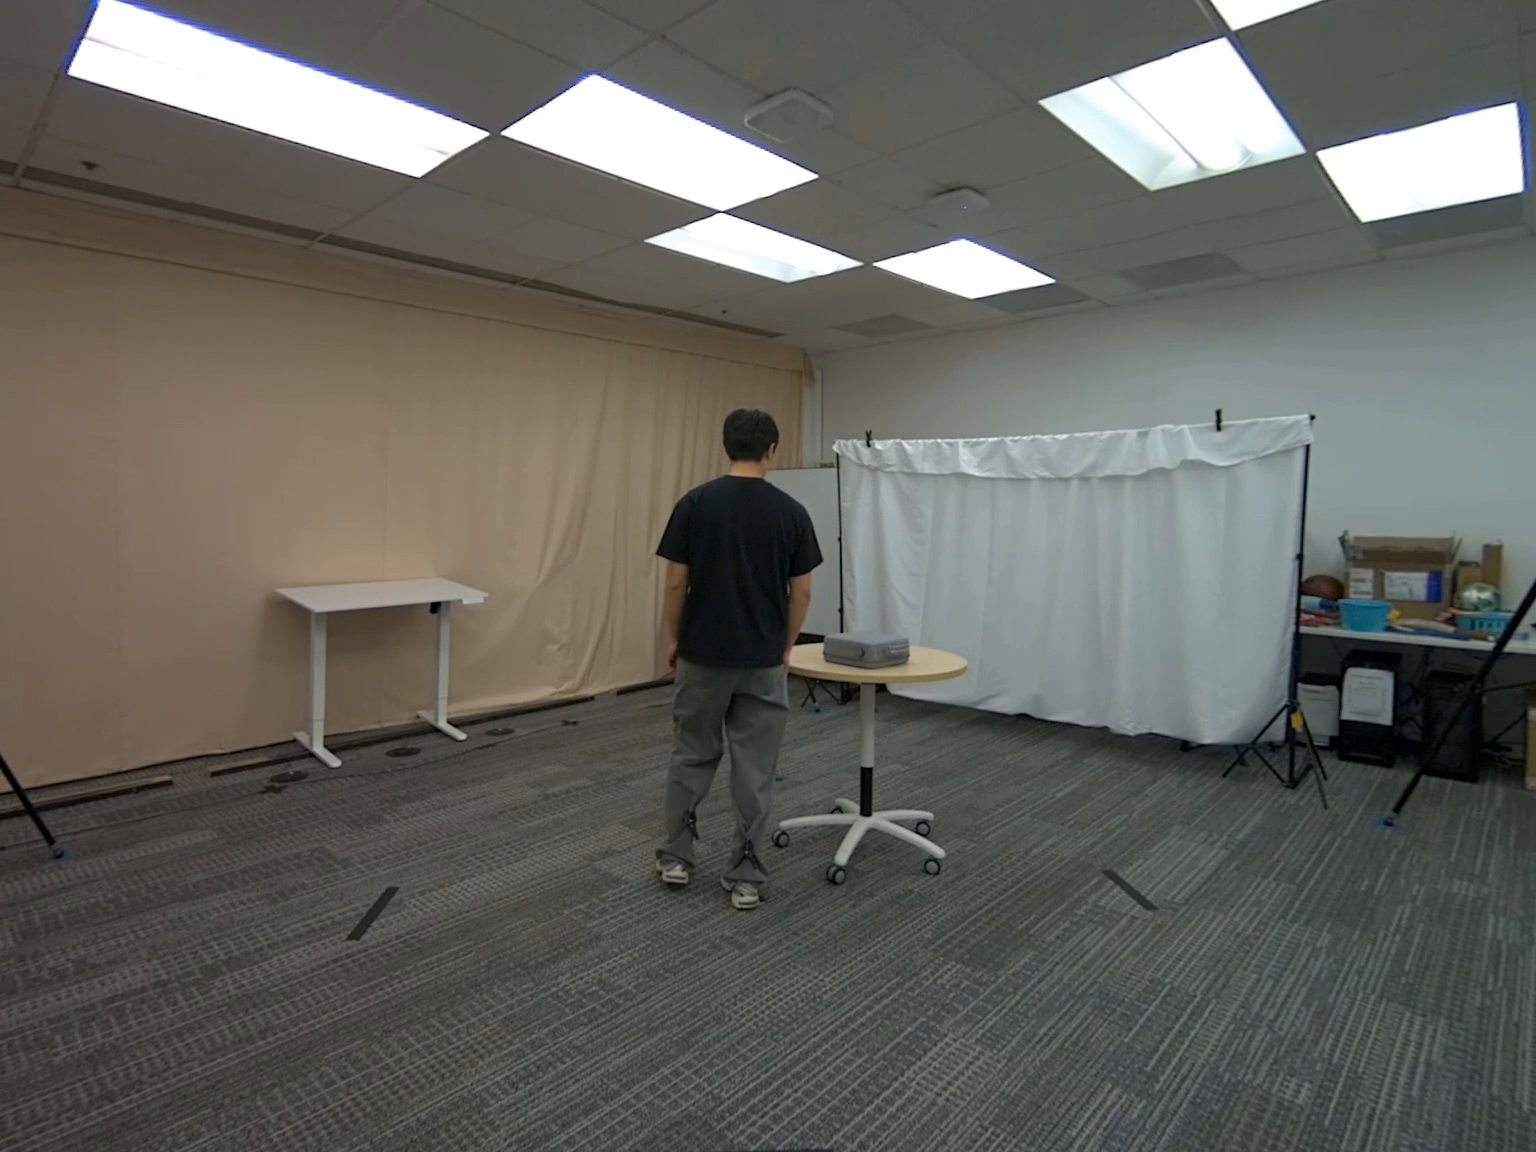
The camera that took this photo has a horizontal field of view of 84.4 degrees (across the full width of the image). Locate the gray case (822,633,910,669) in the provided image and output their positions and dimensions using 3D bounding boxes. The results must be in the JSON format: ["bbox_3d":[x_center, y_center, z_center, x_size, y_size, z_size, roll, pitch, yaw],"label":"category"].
[{"bbox_3d":[0.397,0.284,3.259,0.297,0.103,0.255,3,4,43],"label":"gray case"}]
